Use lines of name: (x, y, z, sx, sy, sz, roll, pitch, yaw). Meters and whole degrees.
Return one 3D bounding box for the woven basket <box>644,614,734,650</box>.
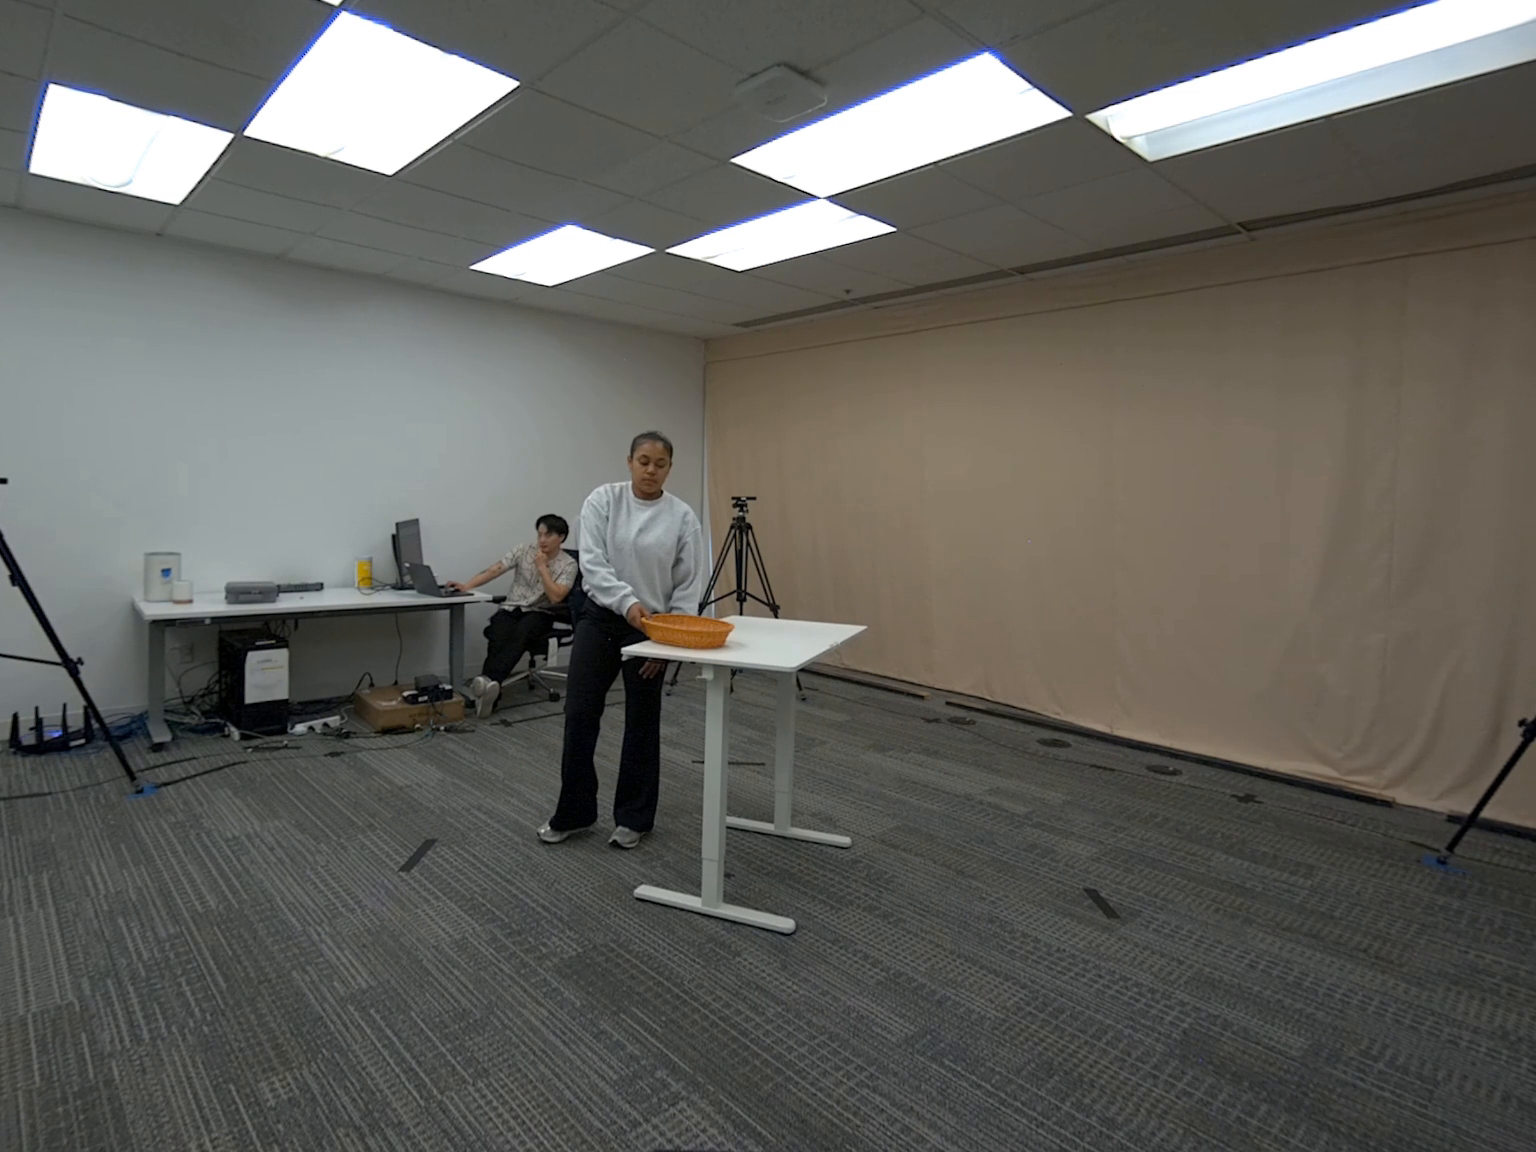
woven basket: (-0.304, 0.196, 2.919, 0.359, 0.073, 0.247, 6, 6, 37)
